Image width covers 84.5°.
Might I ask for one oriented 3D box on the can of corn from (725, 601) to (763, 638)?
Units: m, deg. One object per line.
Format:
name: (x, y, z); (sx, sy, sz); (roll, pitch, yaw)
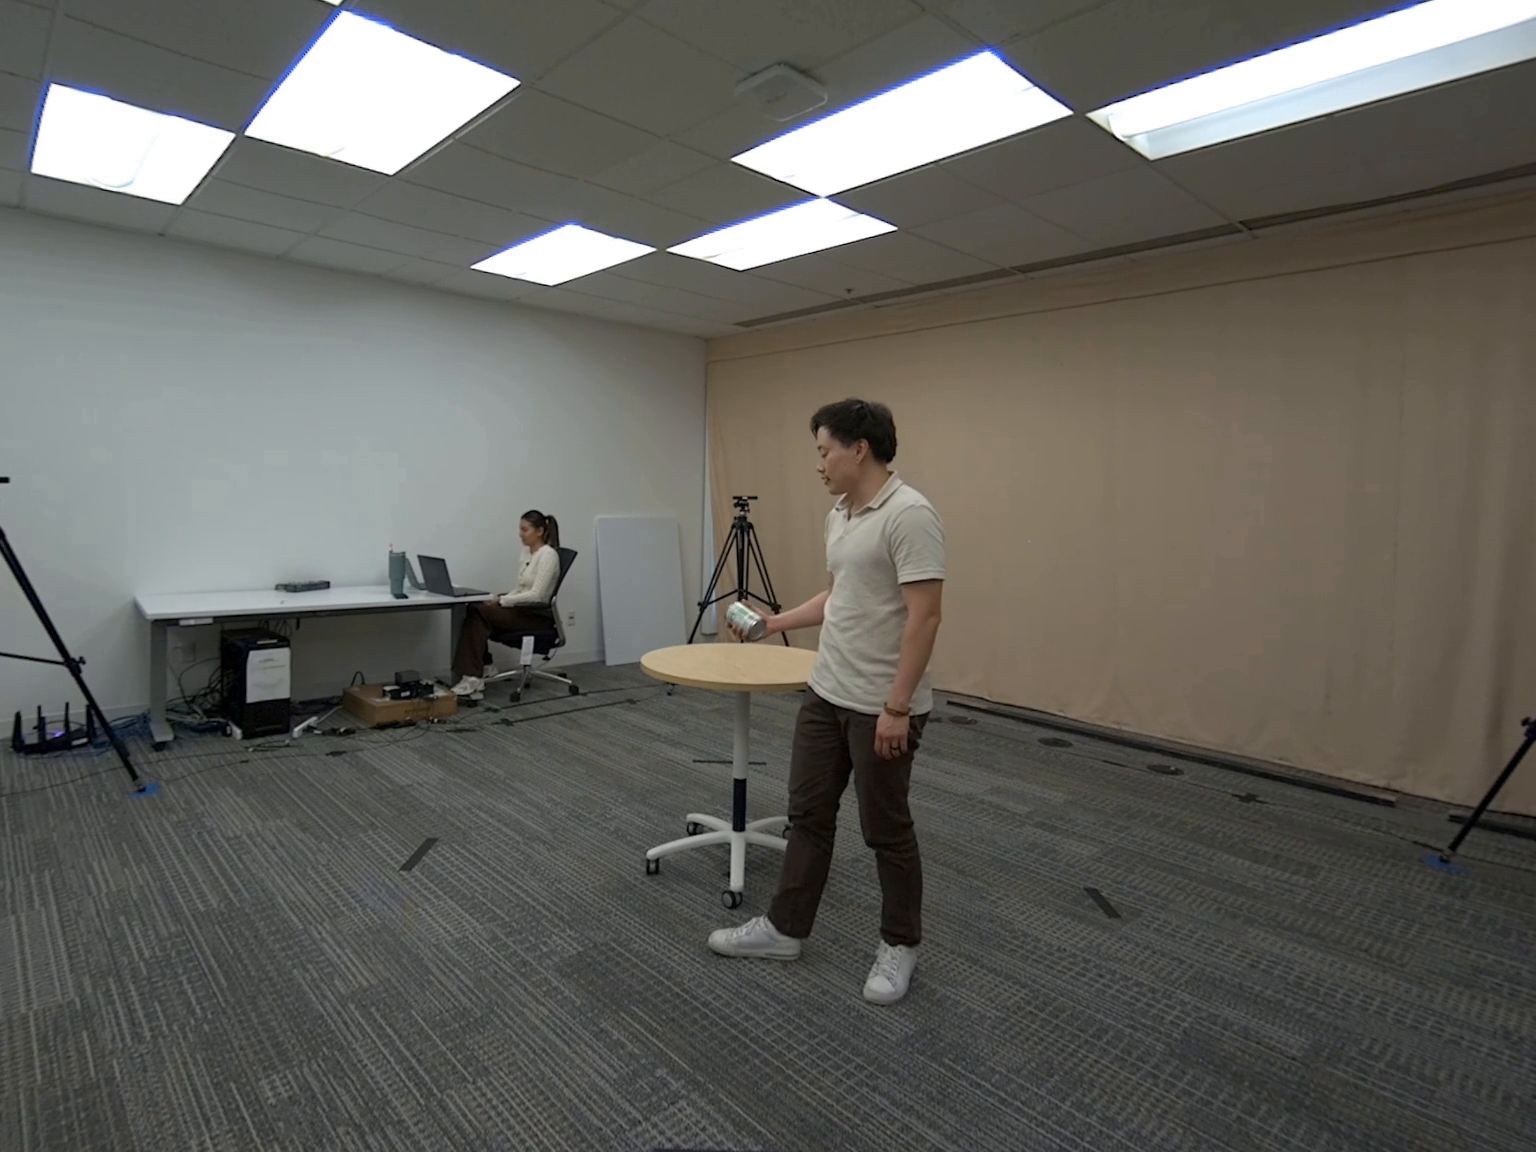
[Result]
can of corn: (-0.076, 0.131, 2.586); (0.072, 0.073, 0.114); (-3, 28, -47)
